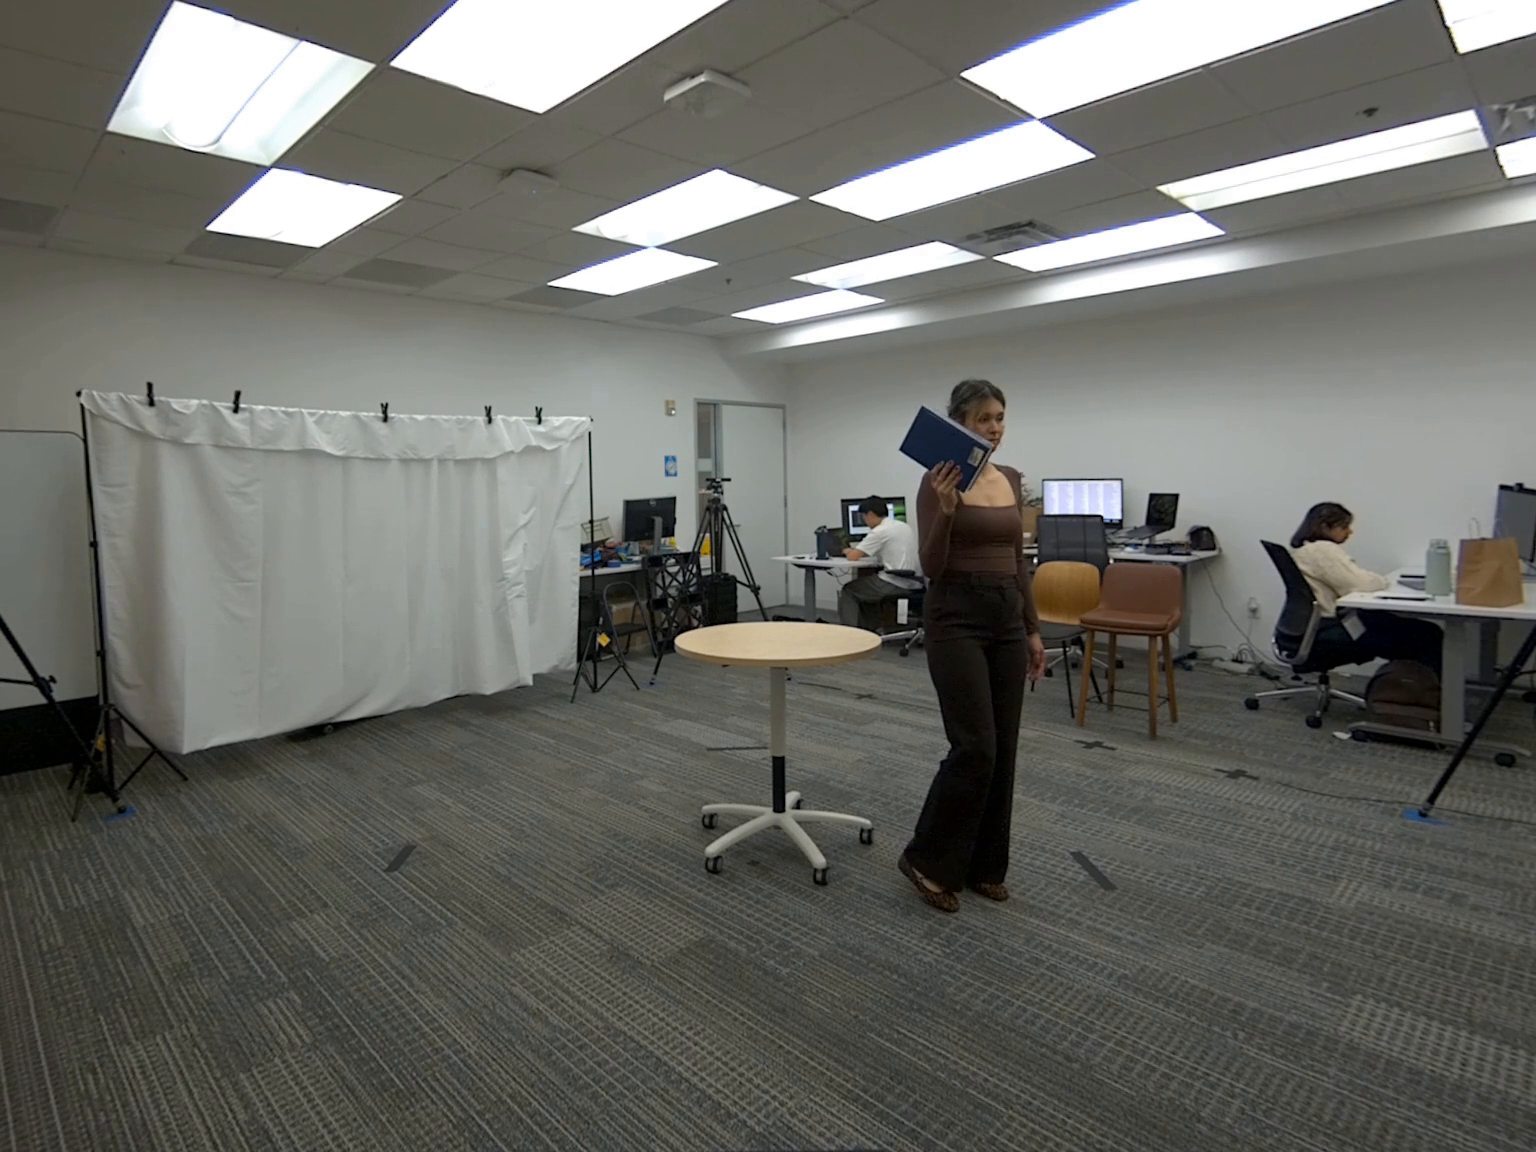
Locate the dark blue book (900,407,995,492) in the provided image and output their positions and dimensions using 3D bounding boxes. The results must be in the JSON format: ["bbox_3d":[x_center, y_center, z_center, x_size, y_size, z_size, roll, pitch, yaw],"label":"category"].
[{"bbox_3d":[0.539,-0.384,2.563,0.252,0.161,0.044,39,36,23],"label":"dark blue book"}]
